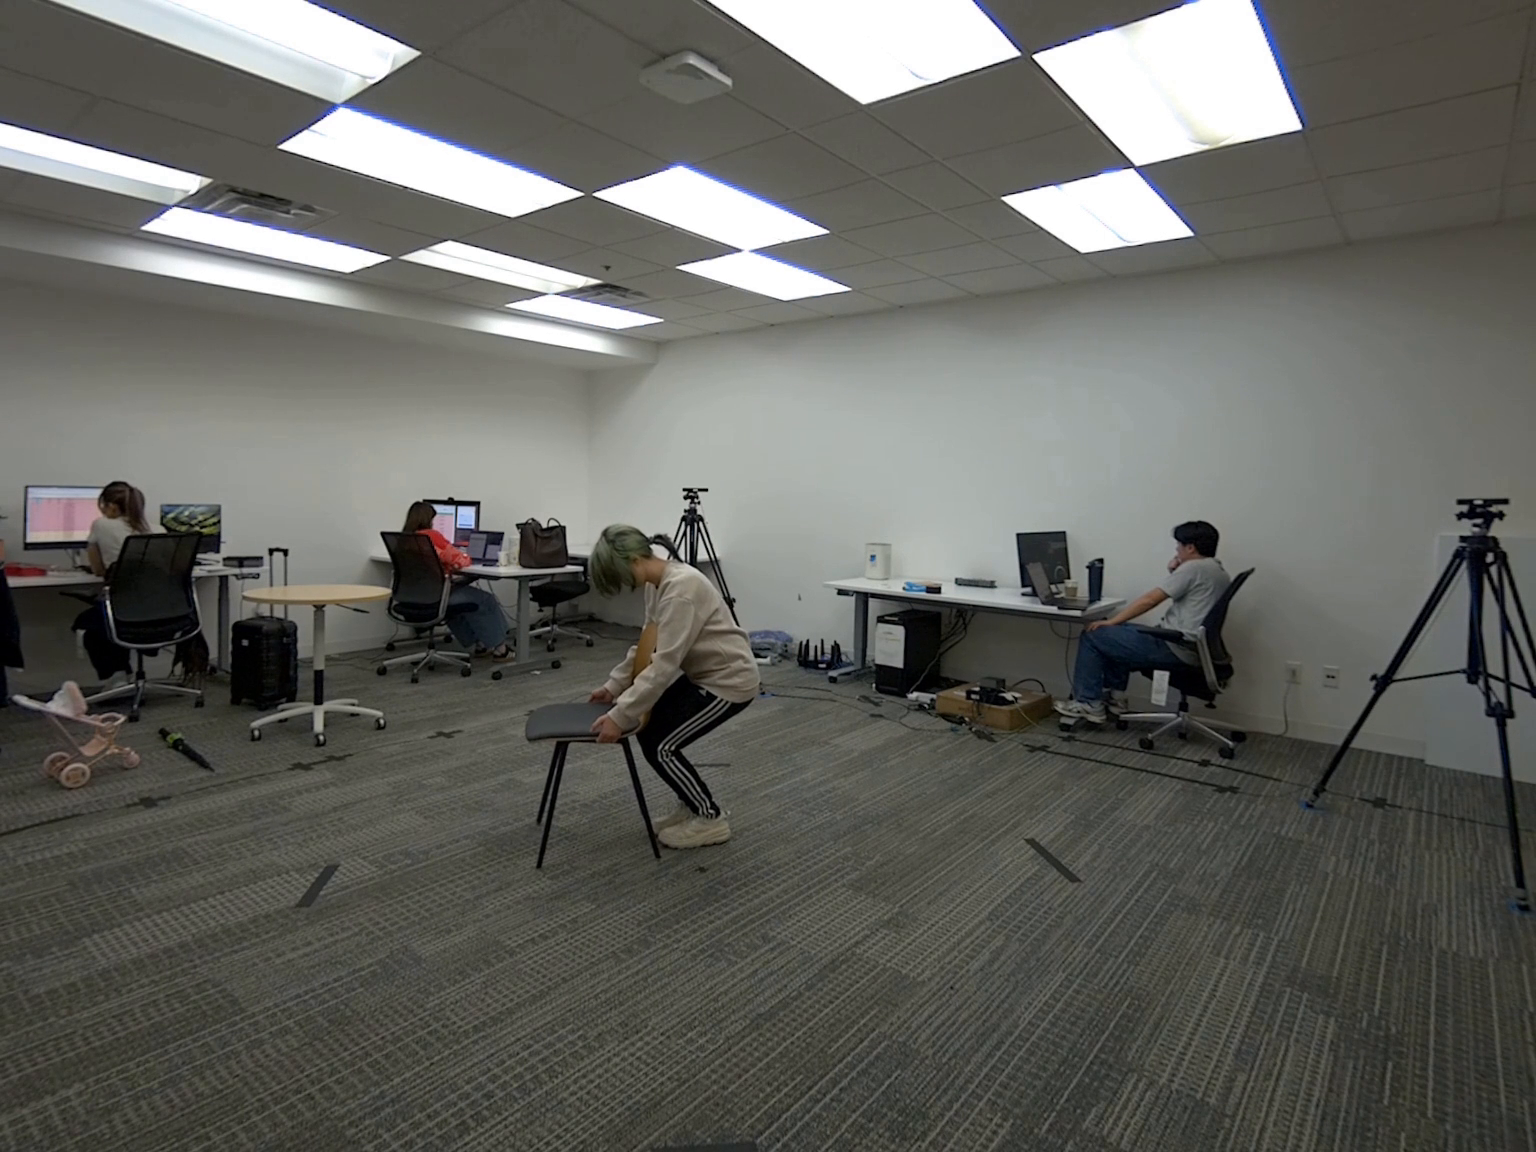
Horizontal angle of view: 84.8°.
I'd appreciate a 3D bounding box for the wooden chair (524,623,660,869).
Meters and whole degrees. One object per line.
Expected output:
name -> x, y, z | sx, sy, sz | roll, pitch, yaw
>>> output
wooden chair -> -0.701, 0.612, 3.311 | 0.515, 0.876, 0.487 | 4, 2, -16
